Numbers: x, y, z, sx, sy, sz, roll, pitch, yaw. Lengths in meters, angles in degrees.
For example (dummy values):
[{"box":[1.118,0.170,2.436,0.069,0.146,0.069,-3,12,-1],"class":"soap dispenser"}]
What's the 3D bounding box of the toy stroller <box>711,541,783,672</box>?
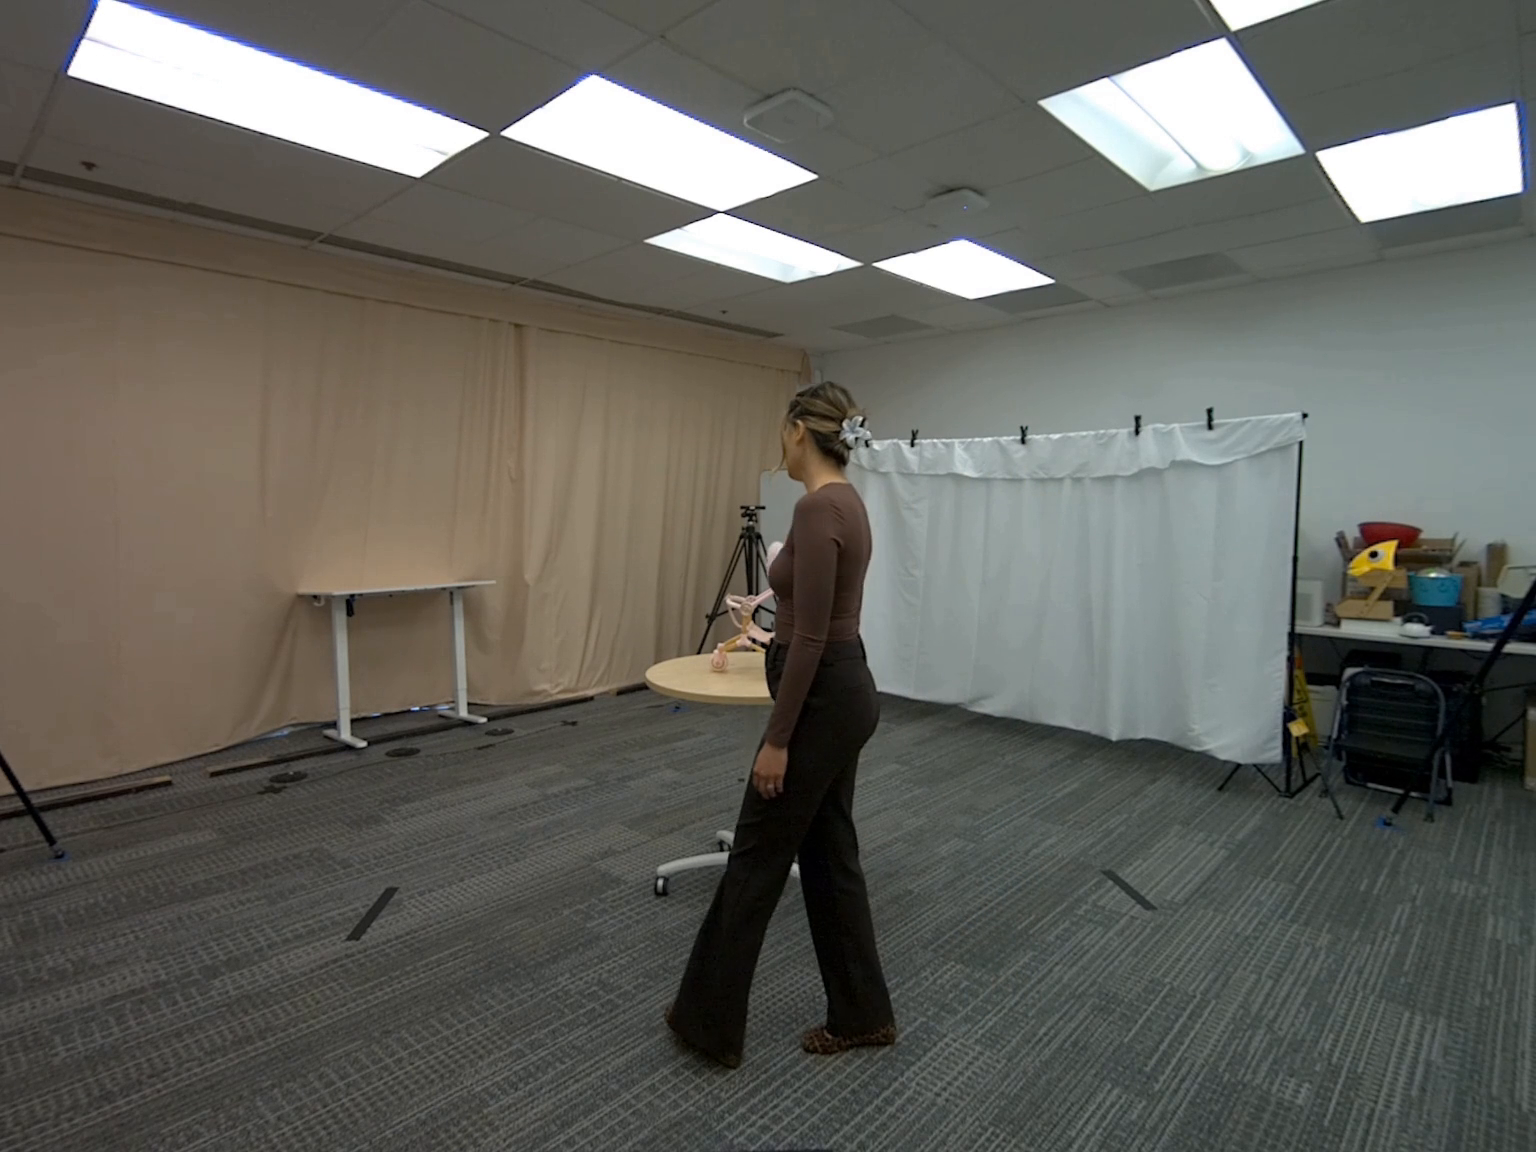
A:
[{"box":[0.009,0.122,2.980,0.346,0.534,0.278,16,6,10],"class":"toy stroller"}]
